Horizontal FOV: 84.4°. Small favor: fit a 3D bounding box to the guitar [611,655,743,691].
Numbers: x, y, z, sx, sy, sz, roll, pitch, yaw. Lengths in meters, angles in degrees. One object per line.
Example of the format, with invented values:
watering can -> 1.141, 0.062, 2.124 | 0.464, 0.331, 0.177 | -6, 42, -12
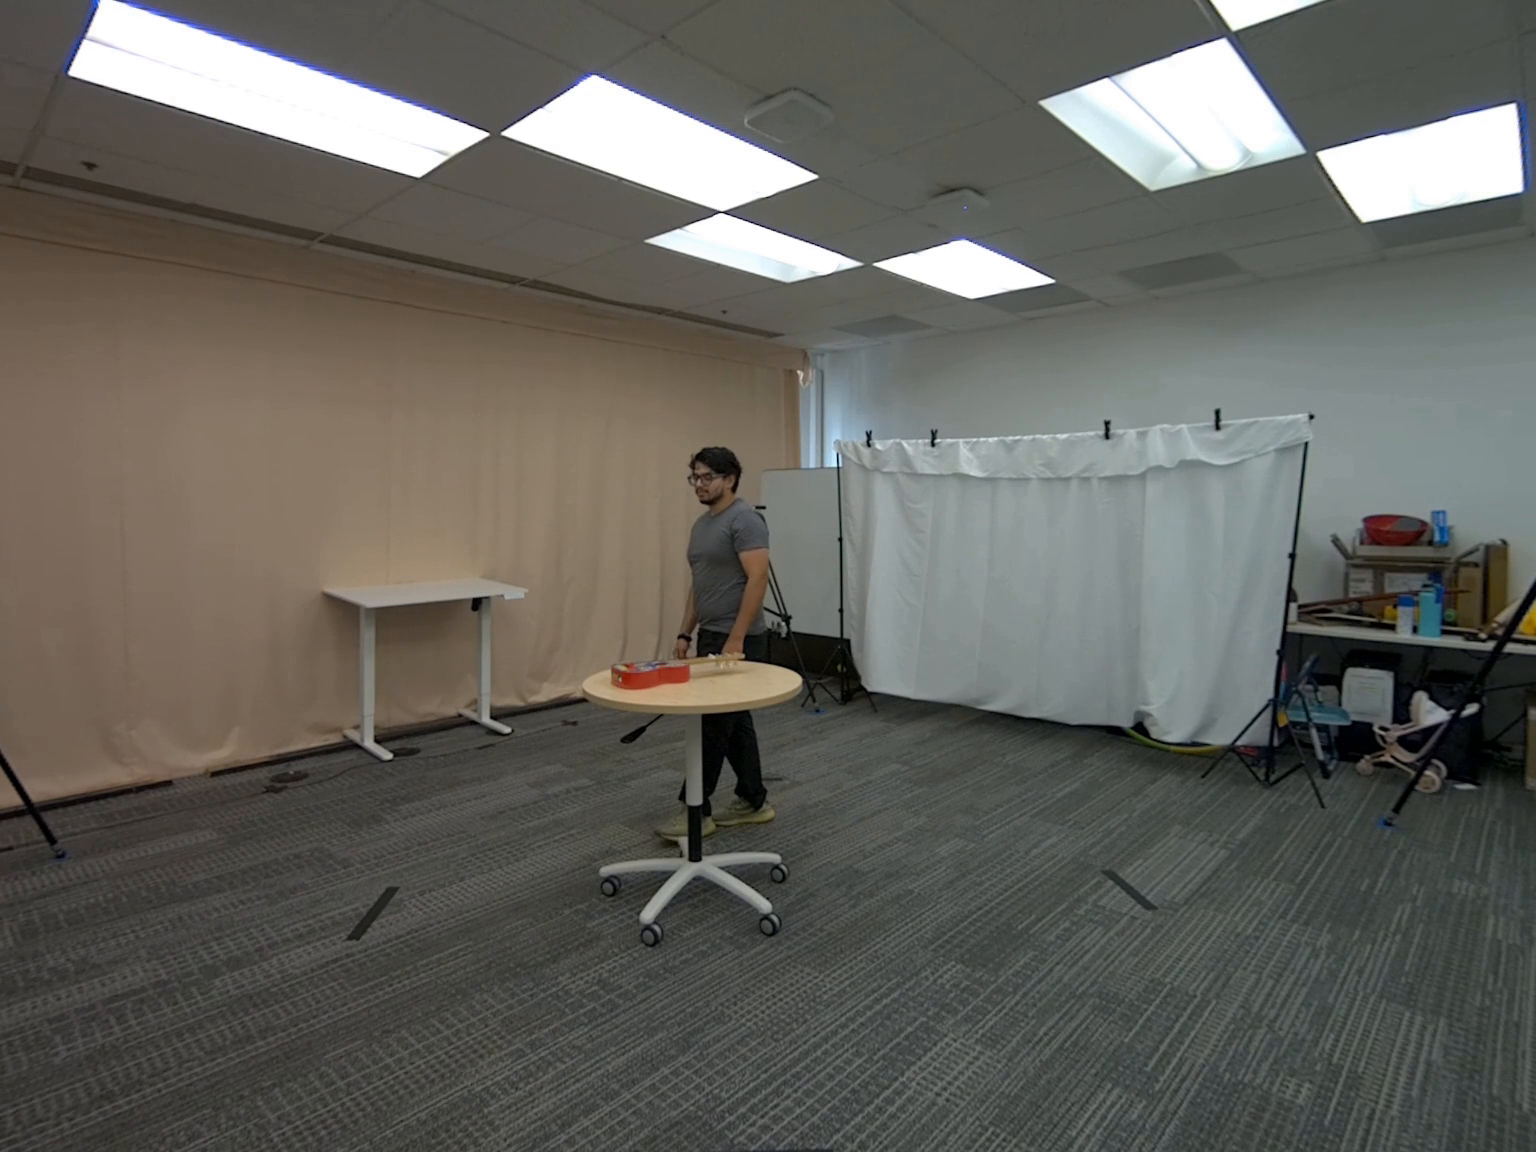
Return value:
guitar -> -0.304, 0.332, 2.959 | 0.489, 0.070, 0.197 | -3, 5, -18
